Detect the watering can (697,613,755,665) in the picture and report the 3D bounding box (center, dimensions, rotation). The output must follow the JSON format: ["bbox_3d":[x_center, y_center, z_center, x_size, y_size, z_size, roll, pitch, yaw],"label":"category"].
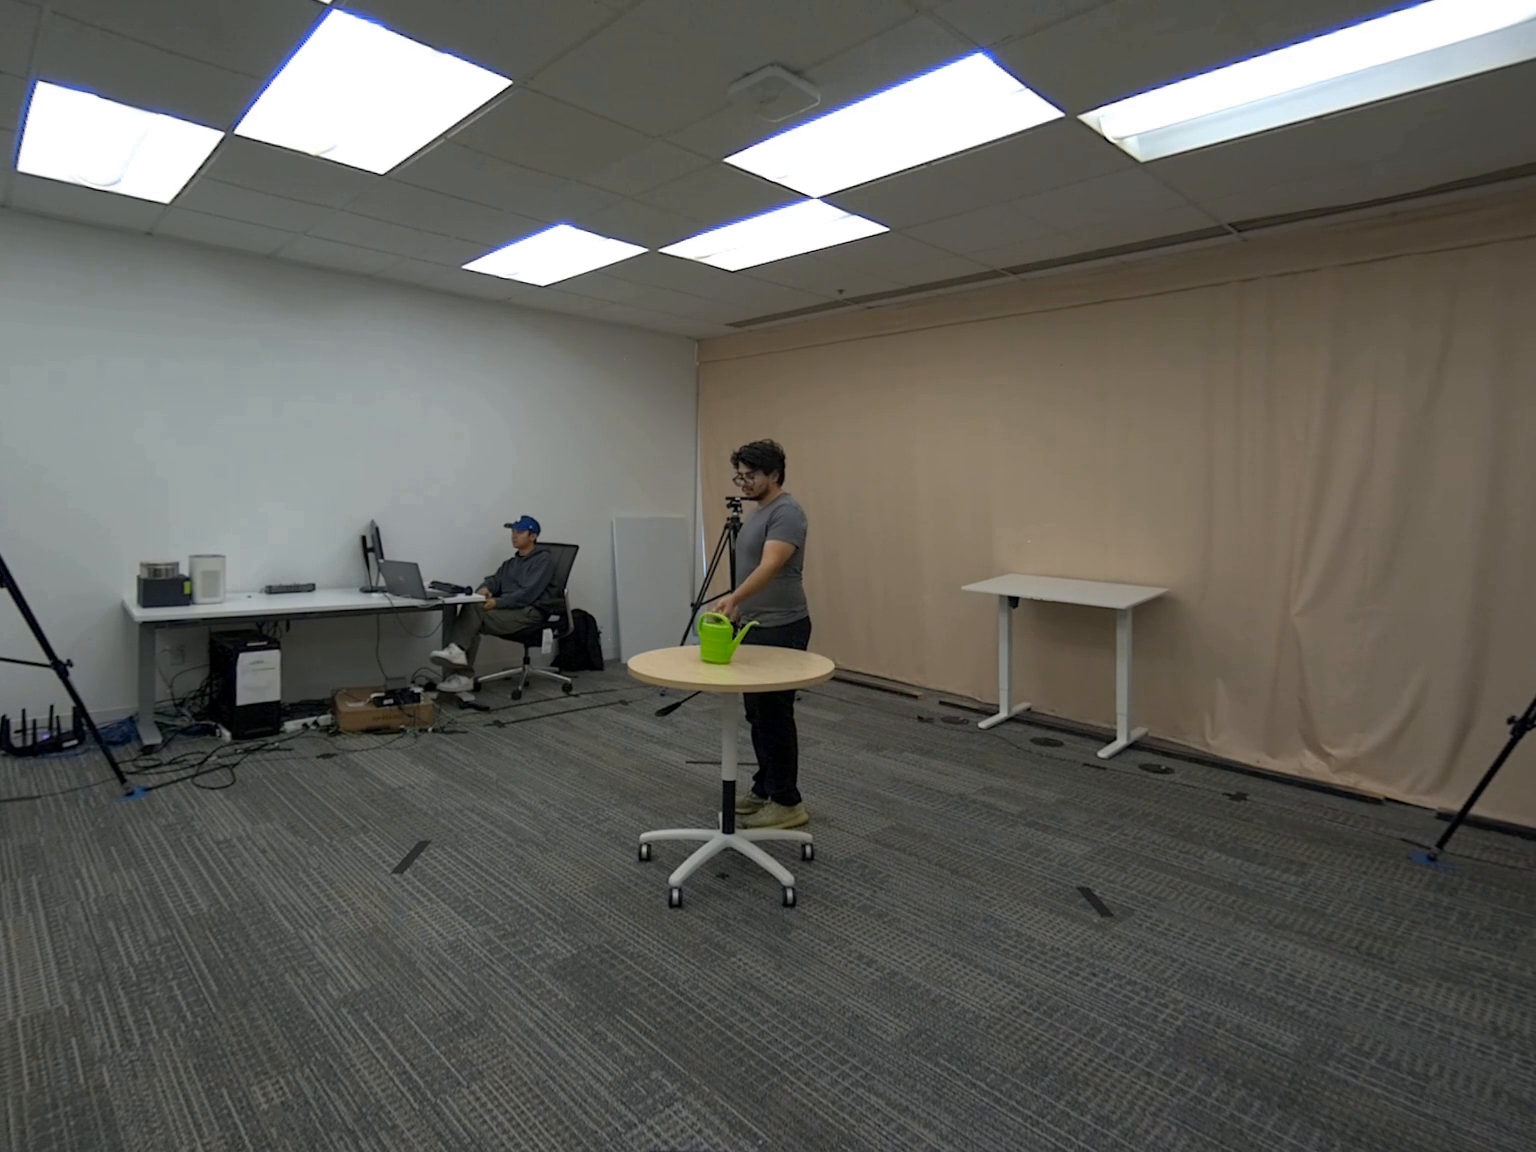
[{"bbox_3d":[-0.181,0.224,3.096,0.096,0.176,0.285,0,5,-40],"label":"watering can"}]
